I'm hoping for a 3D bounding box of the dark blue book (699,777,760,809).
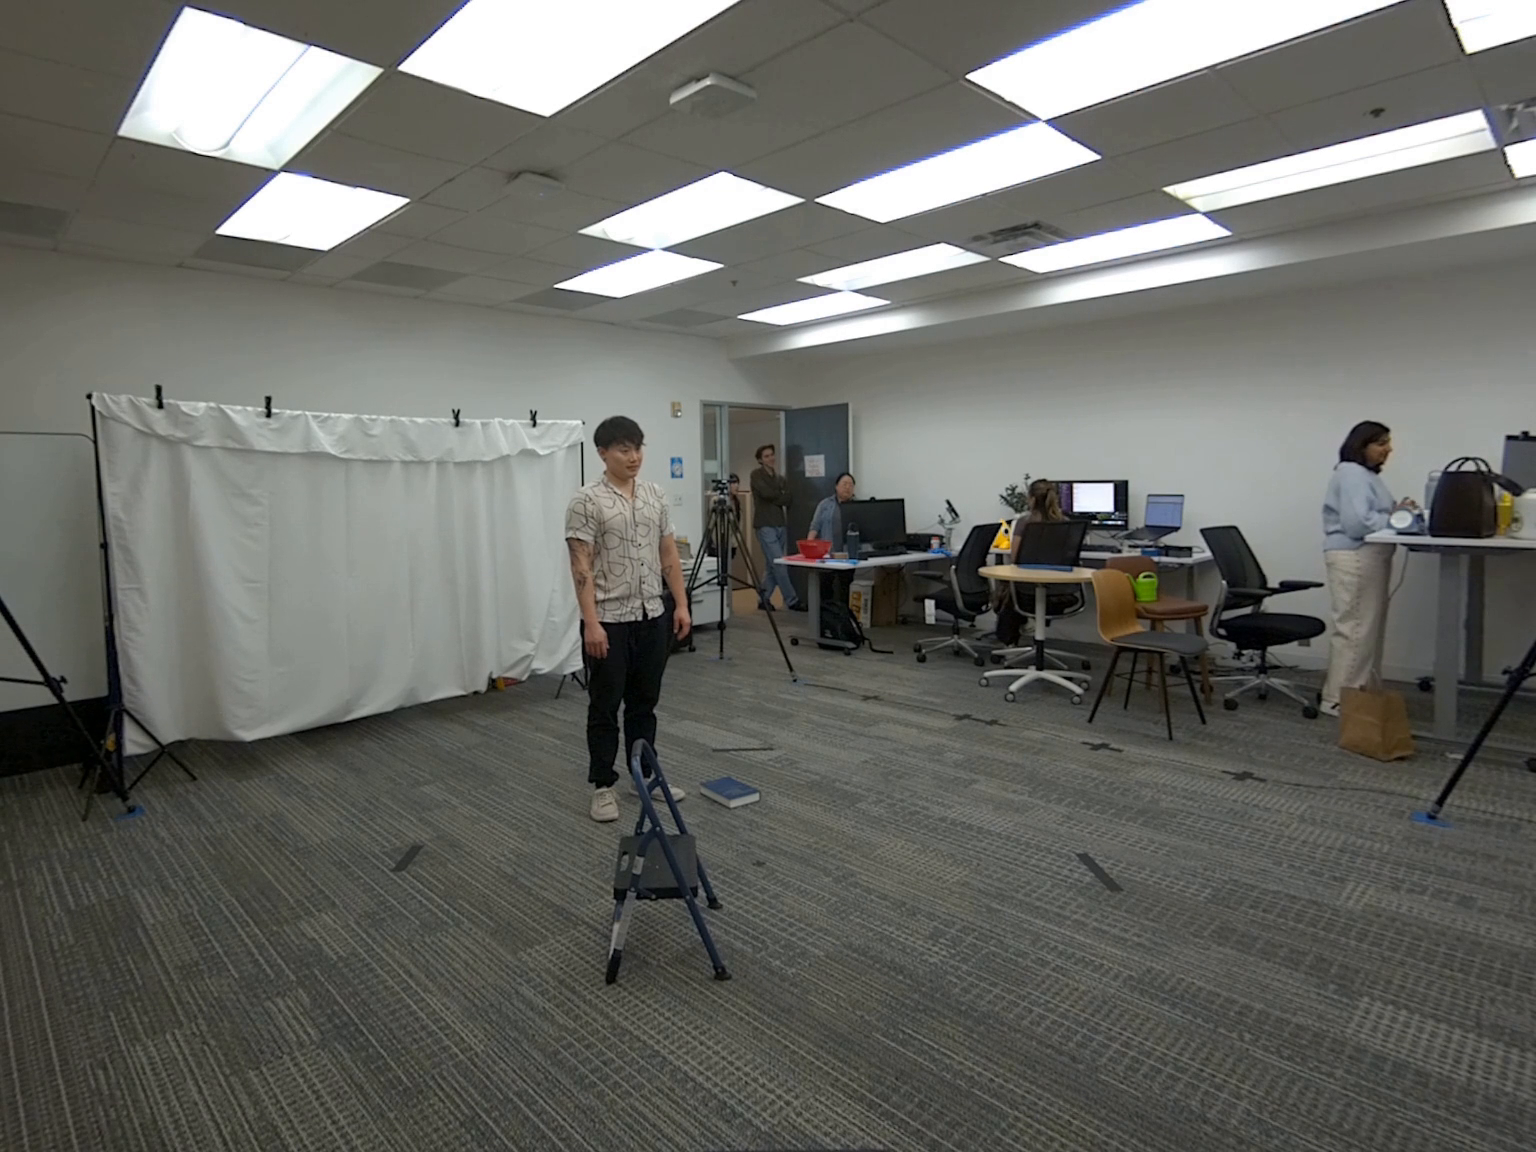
[{"bbox_3d":[-0.172,0.953,3.770,0.159,0.045,0.252,-5,8,-36],"label":"dark blue book"}]
